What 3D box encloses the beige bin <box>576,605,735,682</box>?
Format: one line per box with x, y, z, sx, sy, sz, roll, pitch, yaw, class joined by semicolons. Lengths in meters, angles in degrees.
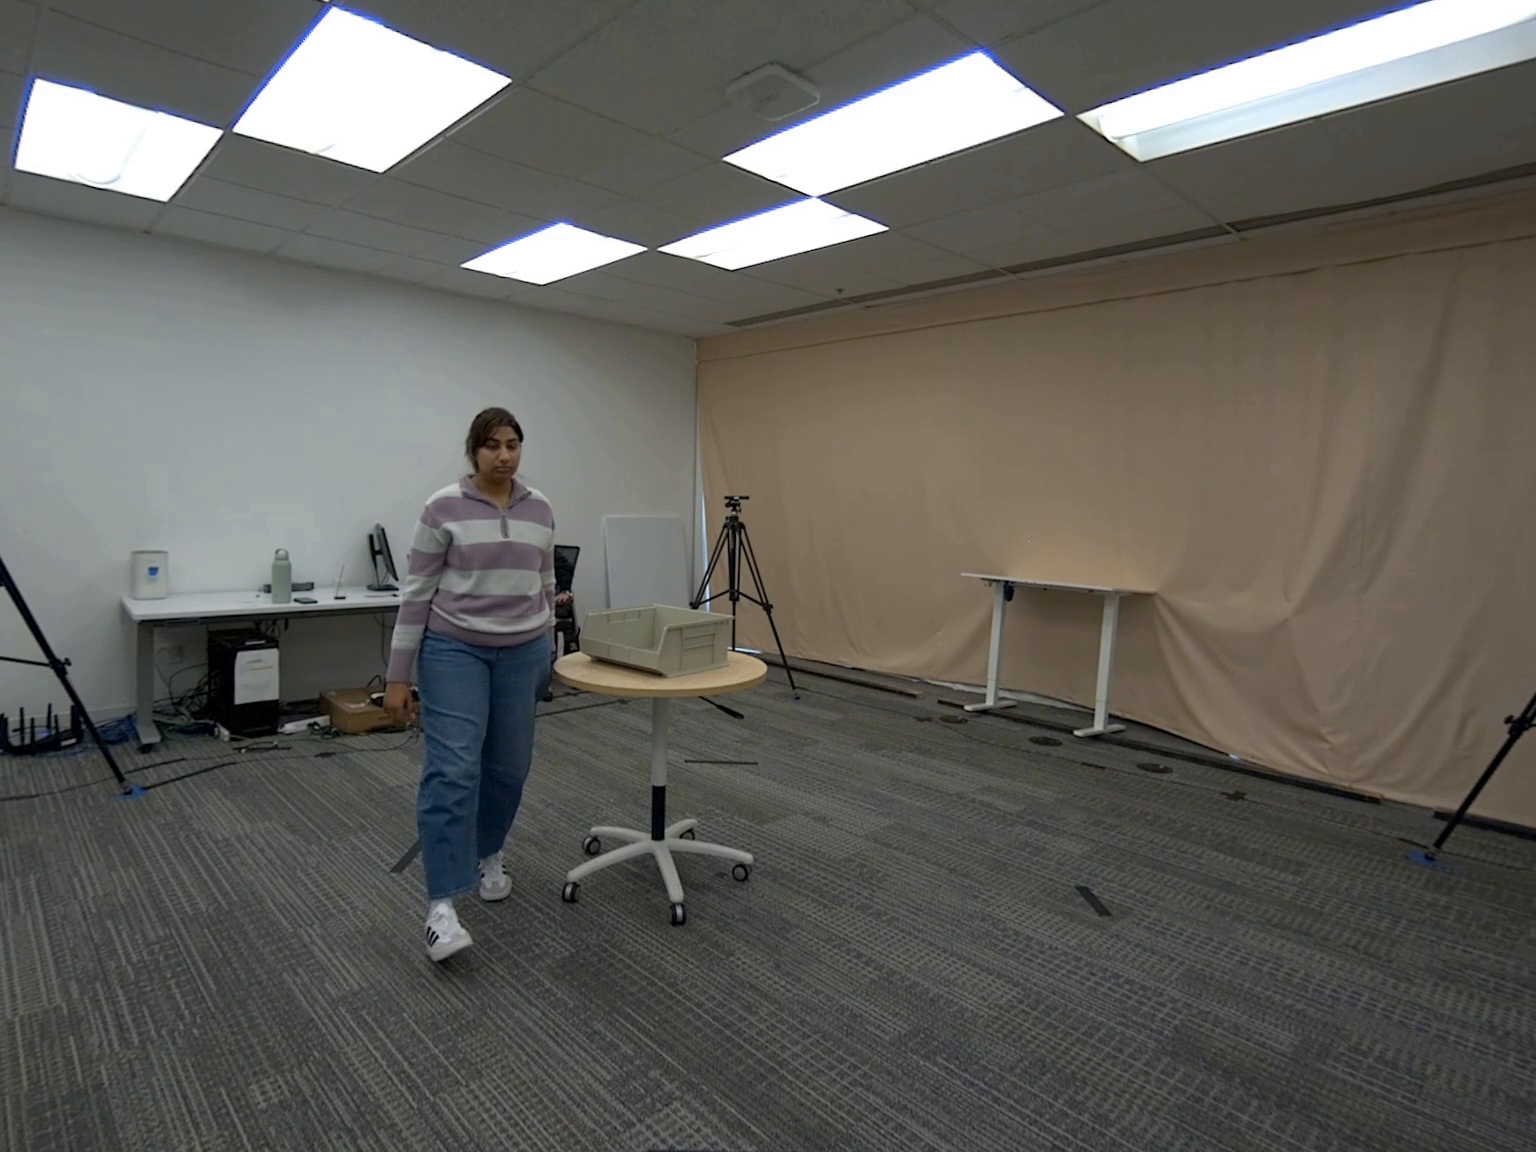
-0.407;0.230;3.047;0.433;0.188;0.369;4;4;39;beige bin
